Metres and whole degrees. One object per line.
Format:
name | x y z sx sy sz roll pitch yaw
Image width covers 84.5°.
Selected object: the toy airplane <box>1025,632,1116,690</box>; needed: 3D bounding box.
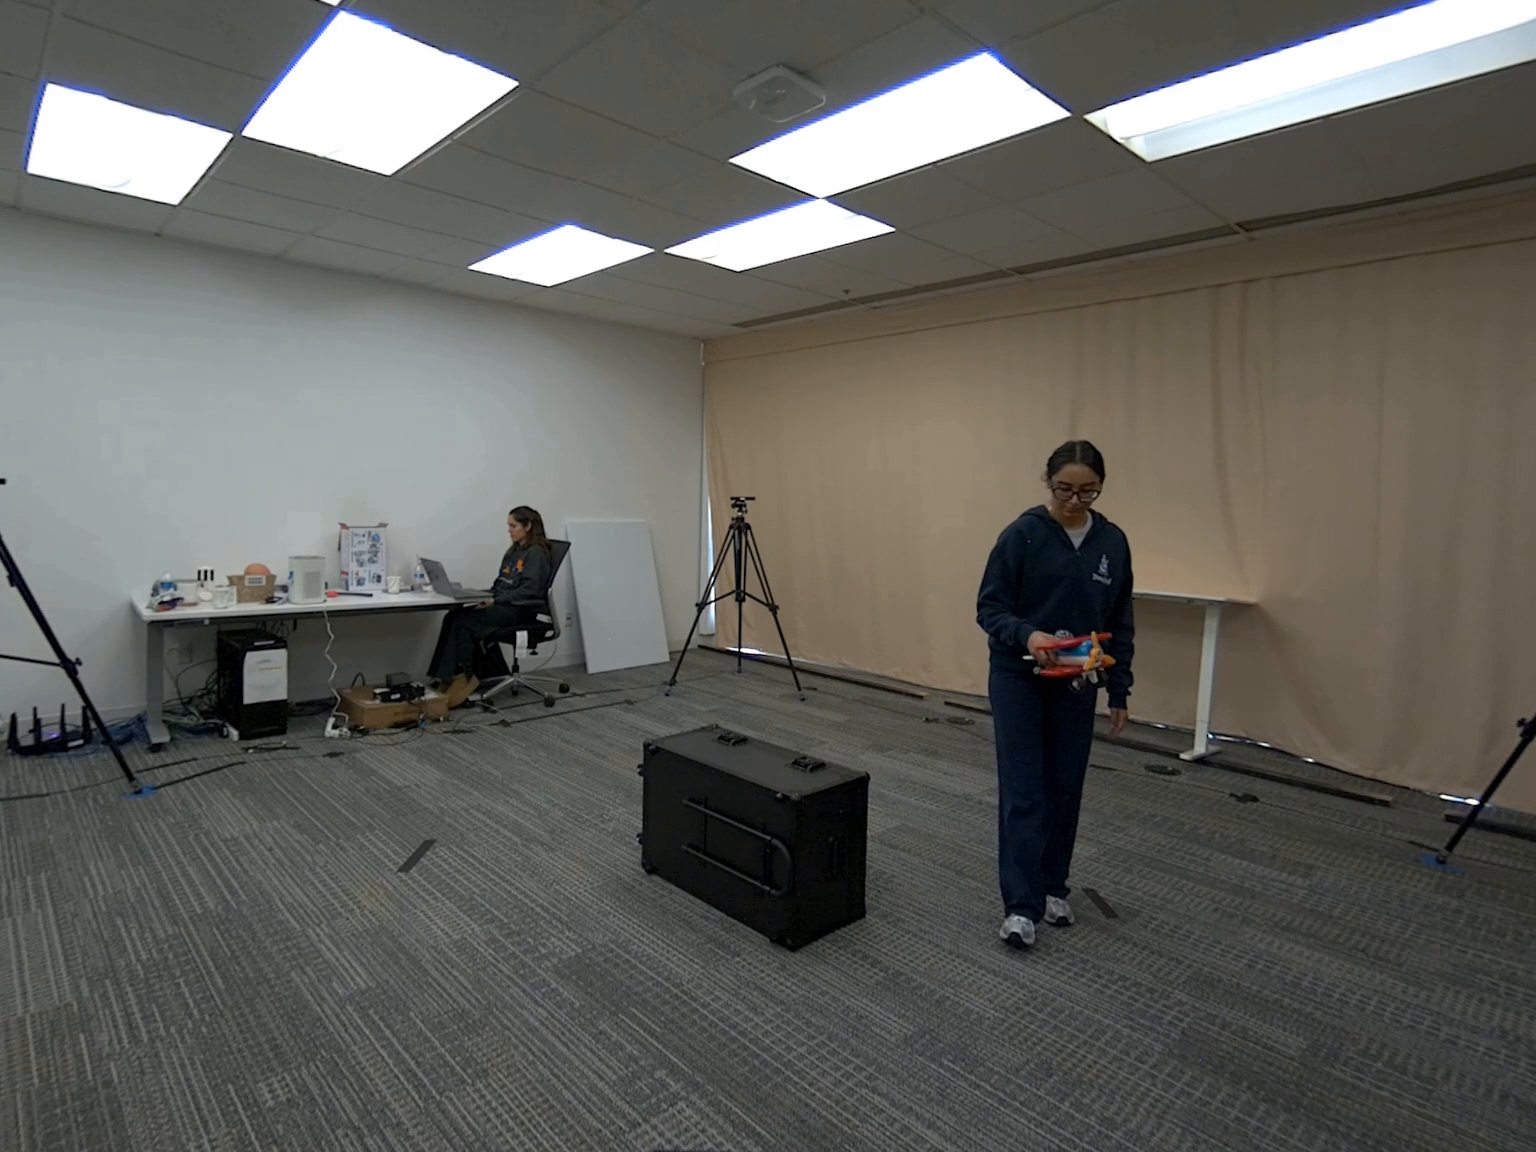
toy airplane | 0.886 0.251 2.550 0.266 0.155 0.247 7 14 37
